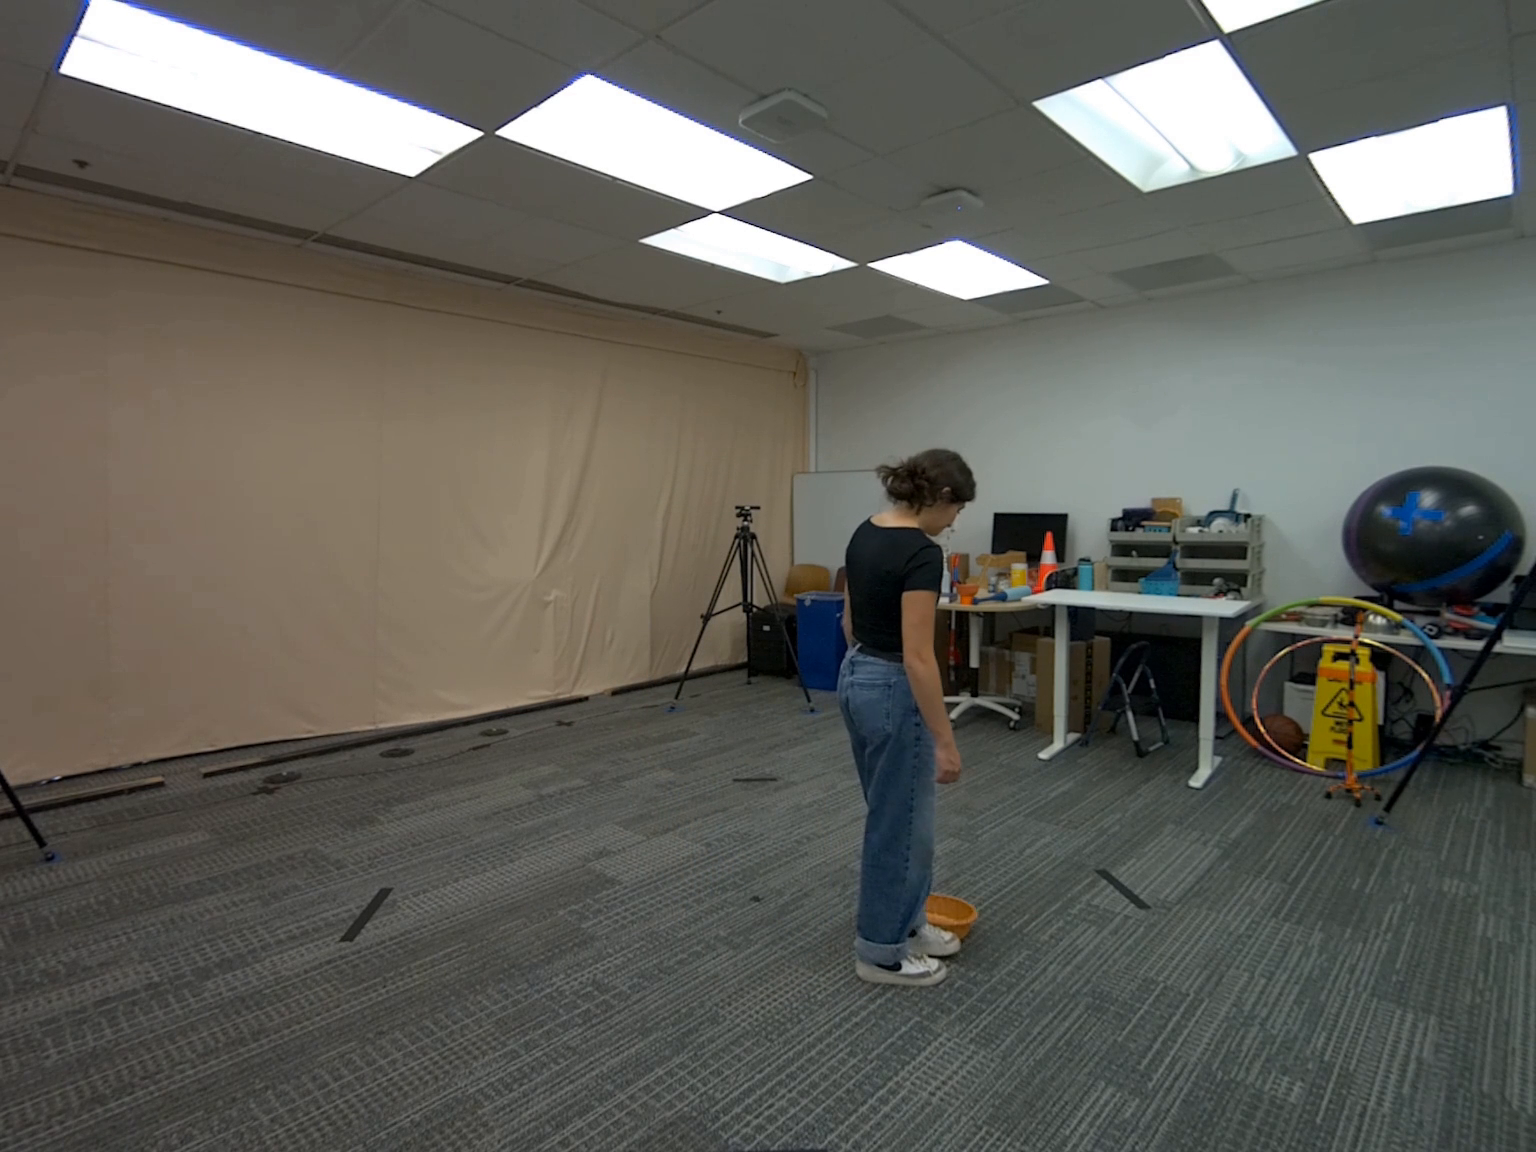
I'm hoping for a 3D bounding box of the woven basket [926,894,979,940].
[{"bbox_3d":[0.510,1.116,2.777,0.359,0.073,0.246,0,1,26],"label":"woven basket"}]
